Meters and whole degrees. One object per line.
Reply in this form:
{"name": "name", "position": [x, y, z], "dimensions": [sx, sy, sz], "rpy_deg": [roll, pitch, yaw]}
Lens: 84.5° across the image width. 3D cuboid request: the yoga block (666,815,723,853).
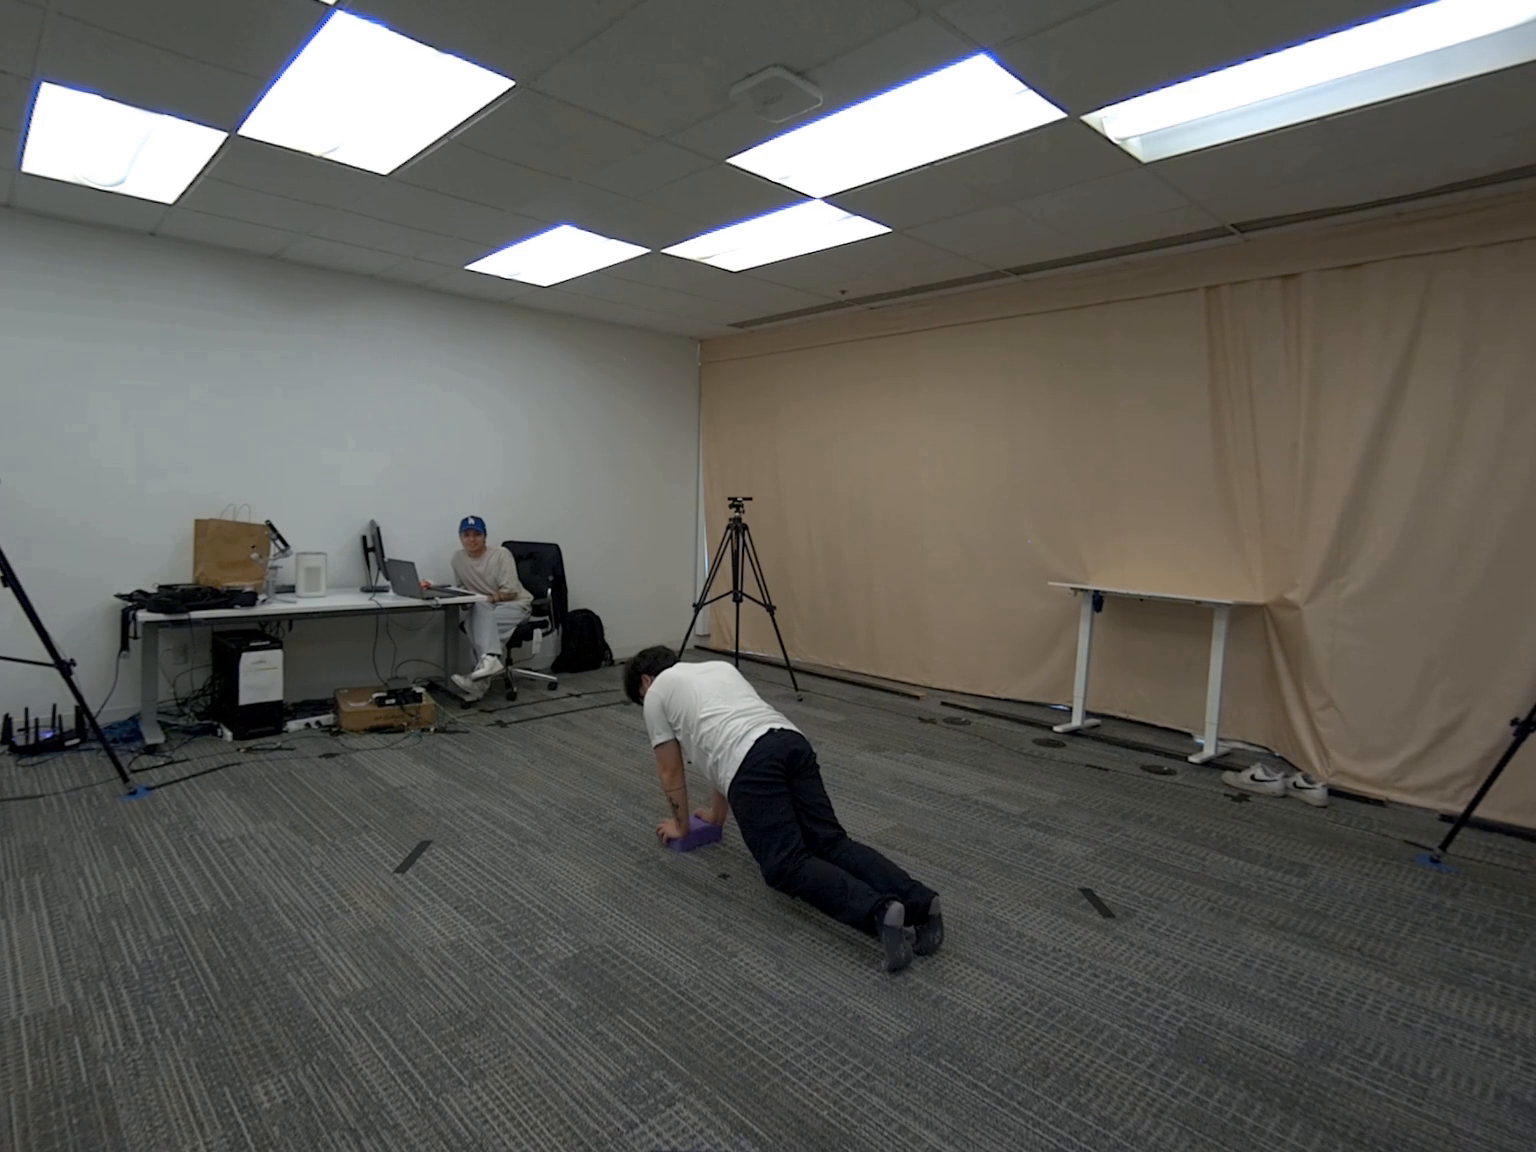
{"name": "yoga block", "position": [-0.320, 1.043, 3.425], "dimensions": [0.224, 0.076, 0.153], "rpy_deg": [-3, 8, -44]}
